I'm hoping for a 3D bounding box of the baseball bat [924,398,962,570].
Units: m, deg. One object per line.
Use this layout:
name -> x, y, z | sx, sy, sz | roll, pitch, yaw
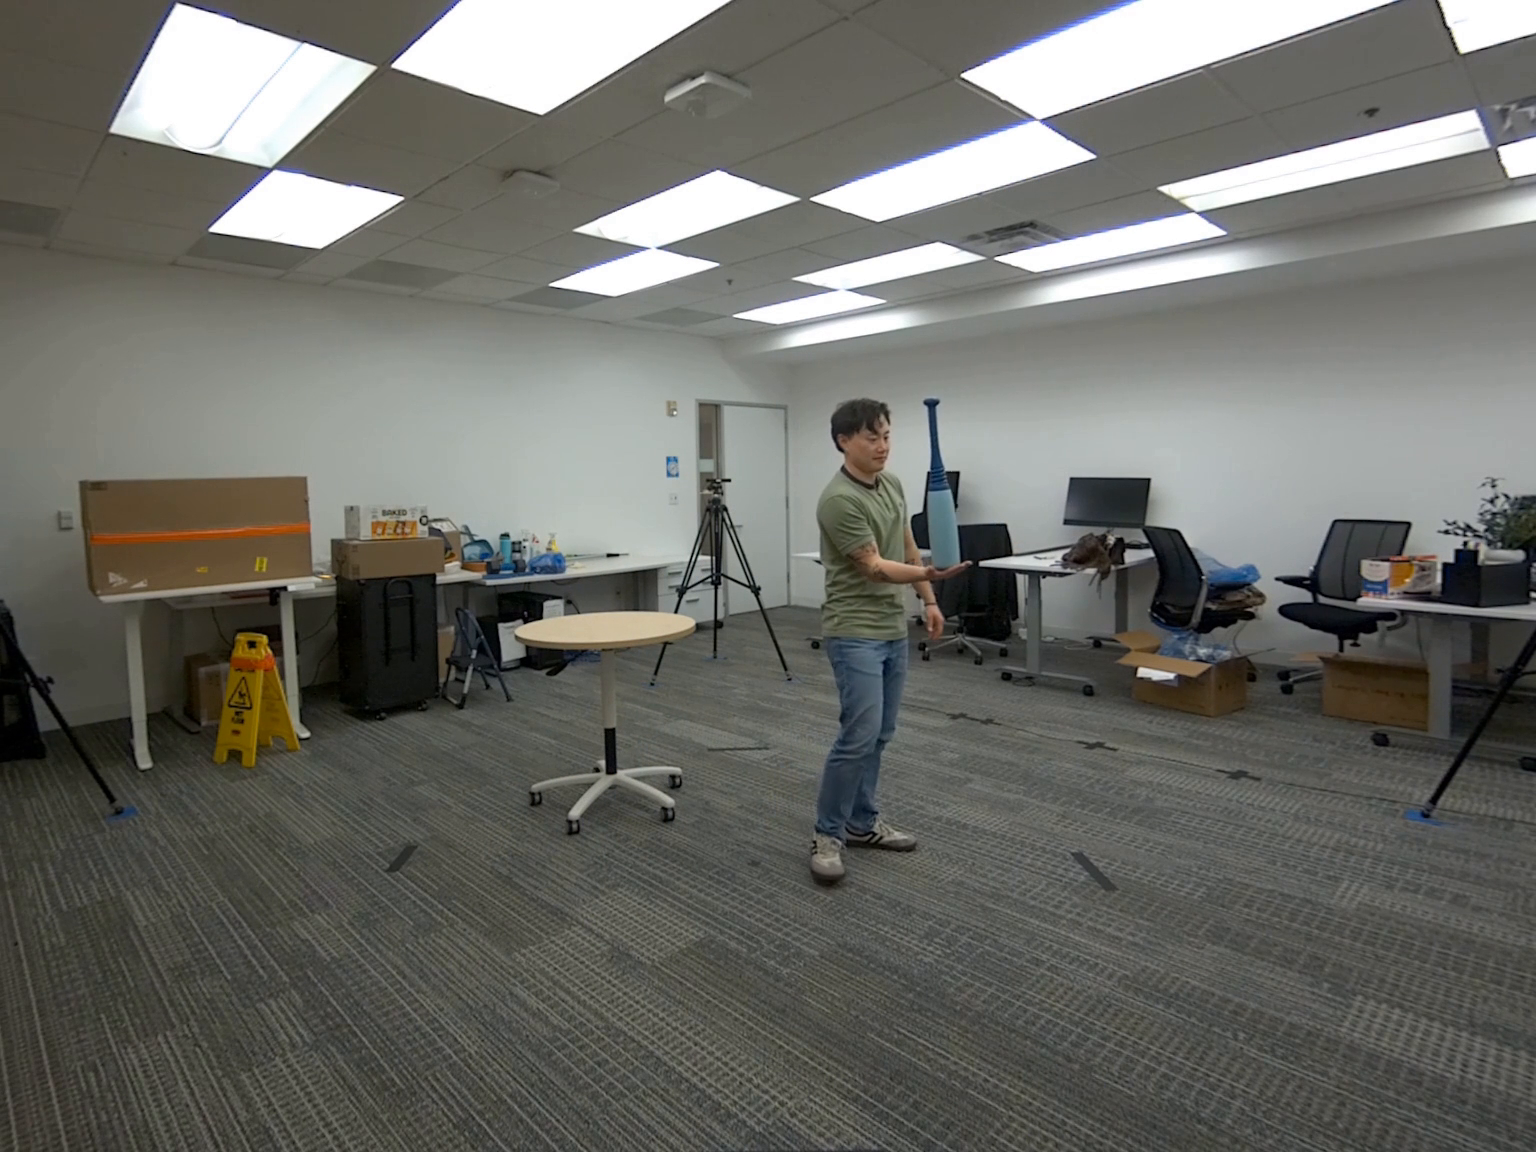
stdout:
baseball bat -> 0.527, -0.290, 2.704 | 0.089, 0.540, 0.089 | -7, 4, -1
